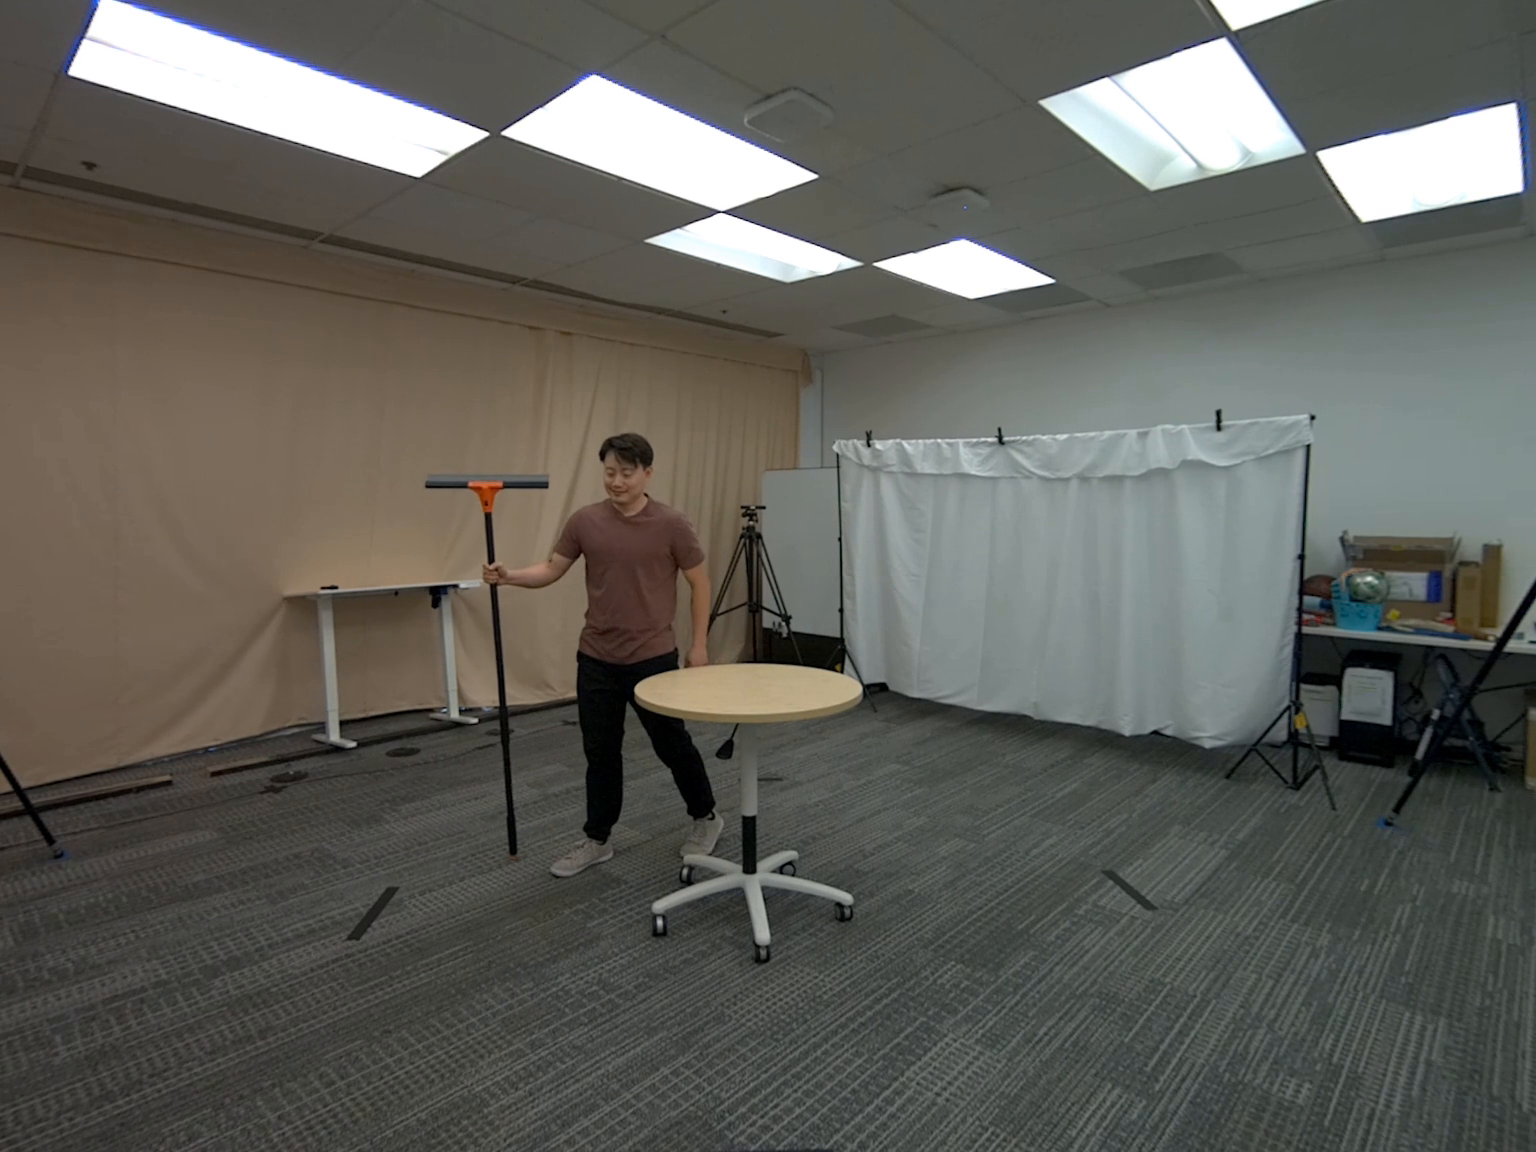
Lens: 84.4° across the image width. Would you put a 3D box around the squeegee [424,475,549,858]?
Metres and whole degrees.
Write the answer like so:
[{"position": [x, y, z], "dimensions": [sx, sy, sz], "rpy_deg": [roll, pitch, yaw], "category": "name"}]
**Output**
[{"position": [-0.995, 0.384, 3.144], "dimensions": [0.440, 1.524, 0.053], "rpy_deg": [3, 15, 6], "category": "squeegee"}]
